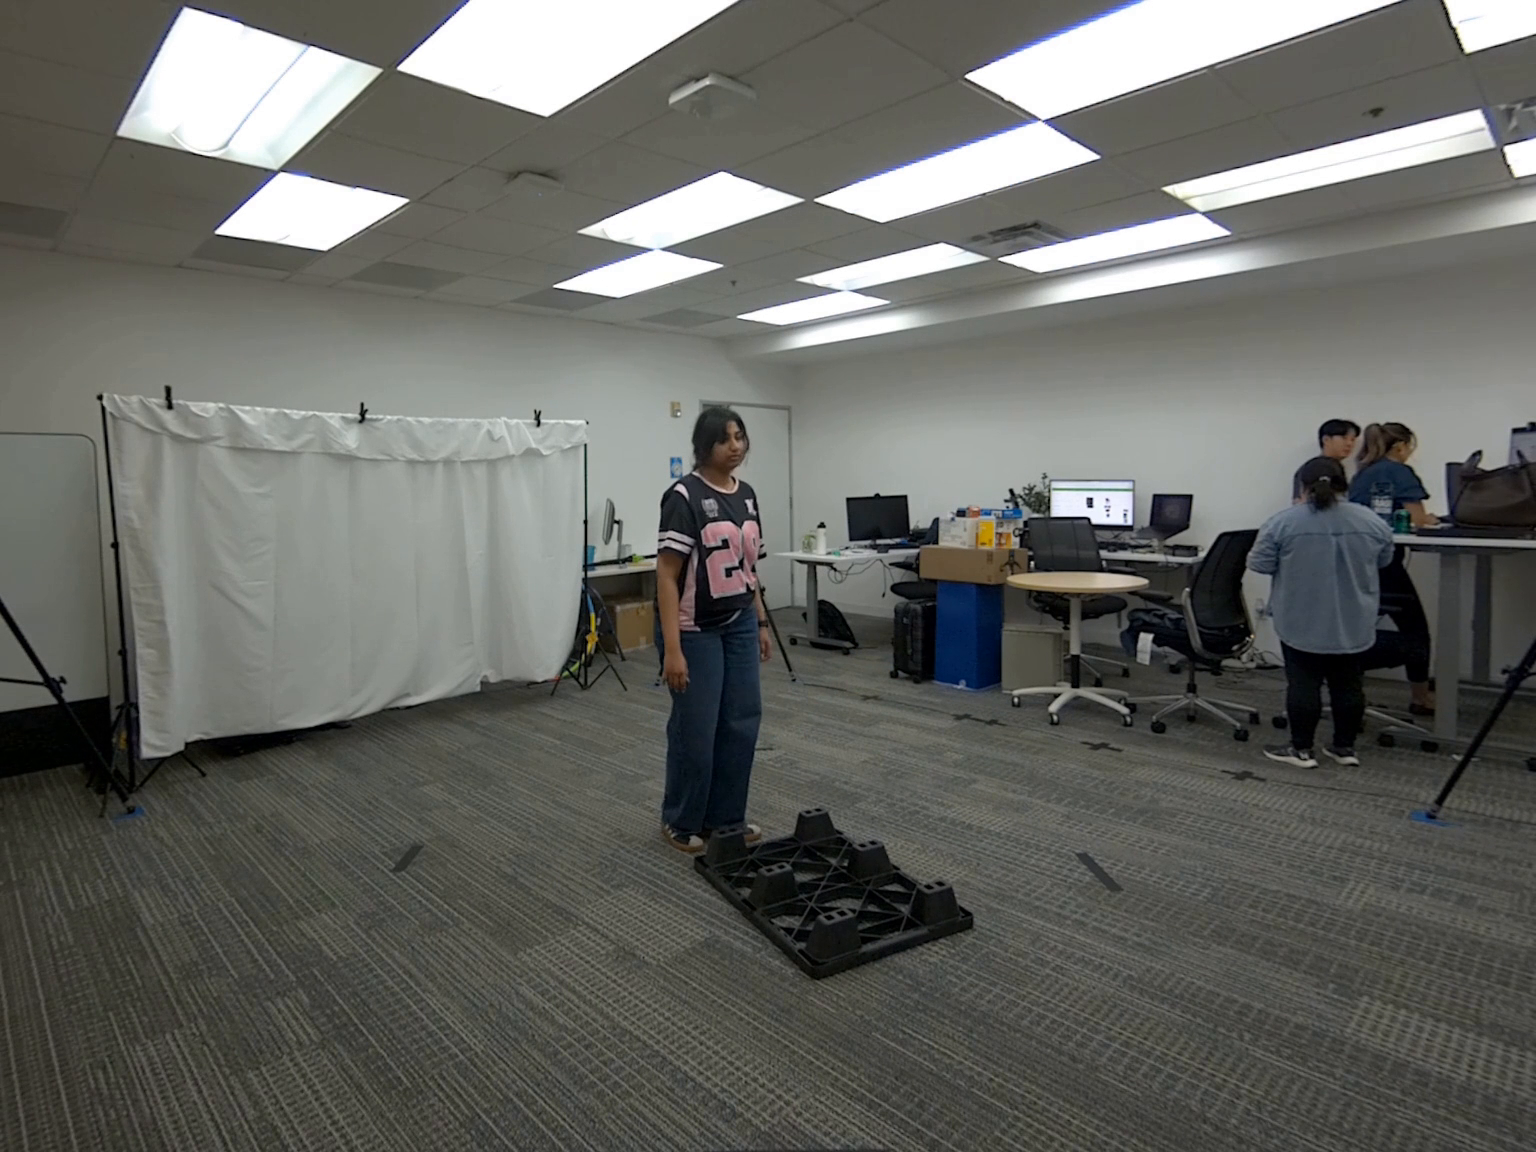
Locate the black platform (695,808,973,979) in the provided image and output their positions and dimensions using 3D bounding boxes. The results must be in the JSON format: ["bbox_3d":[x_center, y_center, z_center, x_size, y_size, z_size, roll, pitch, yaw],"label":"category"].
[{"bbox_3d":[0.183,1.006,2.858,0.591,0.143,0.828,-5,7,-29],"label":"black platform"}]
